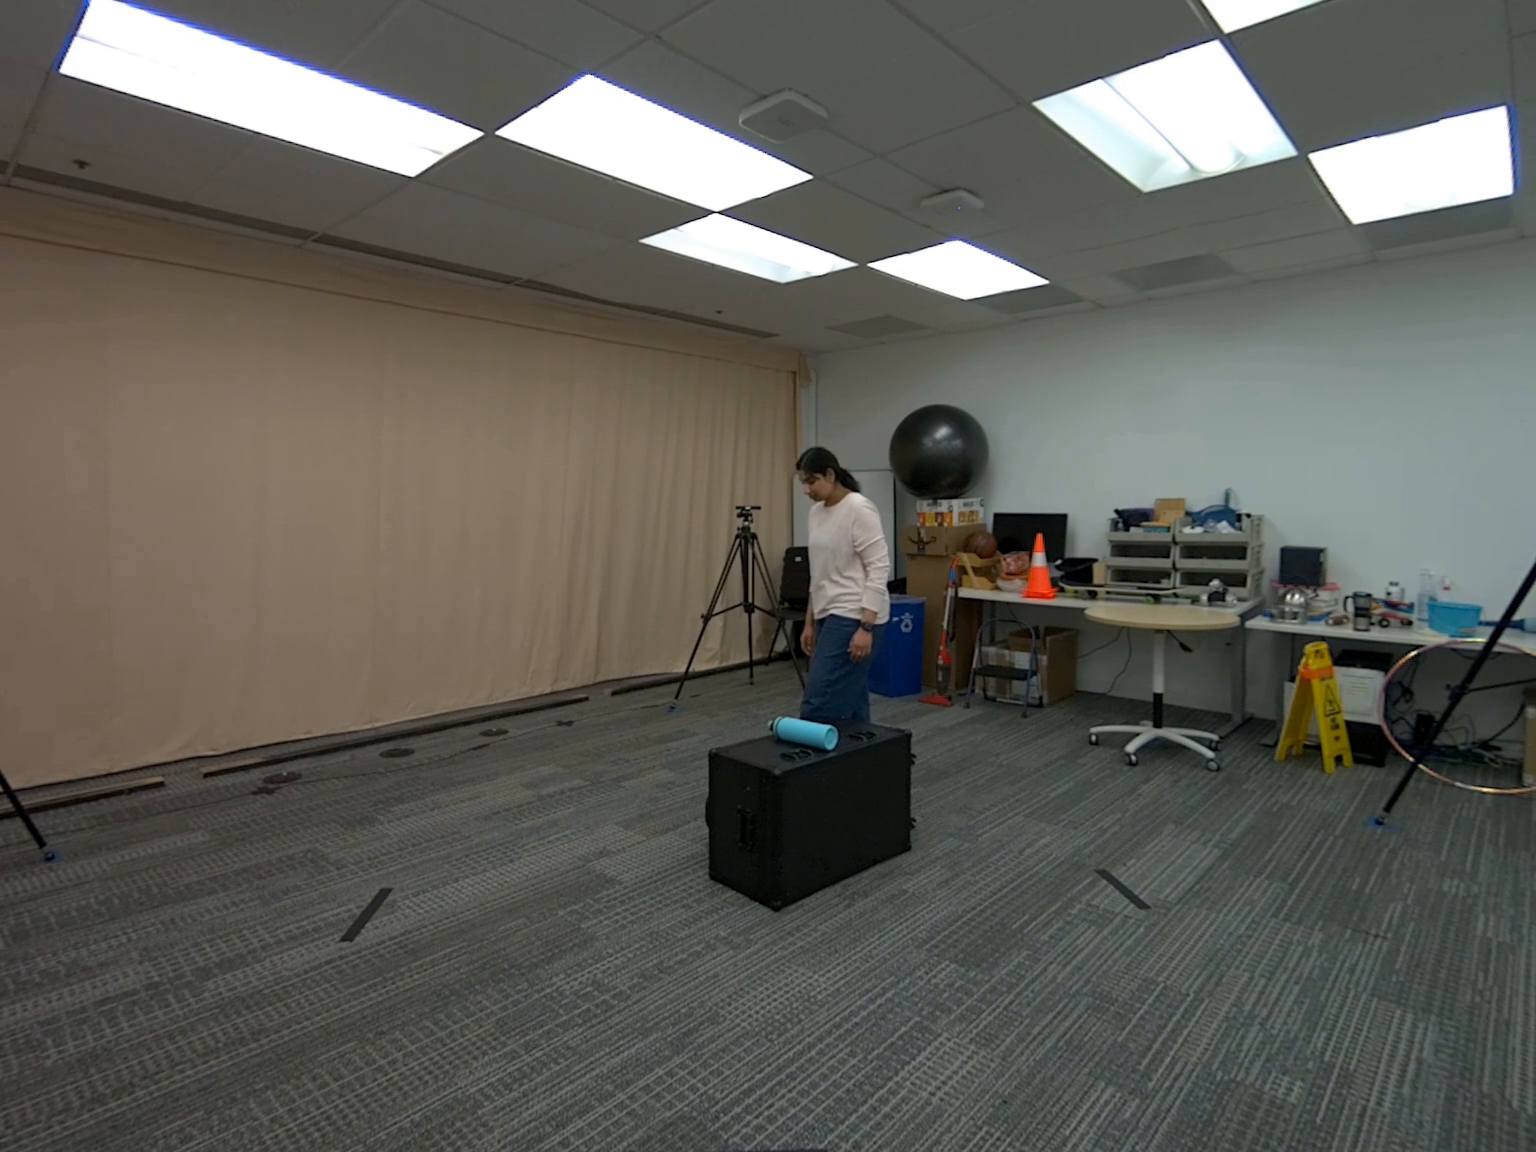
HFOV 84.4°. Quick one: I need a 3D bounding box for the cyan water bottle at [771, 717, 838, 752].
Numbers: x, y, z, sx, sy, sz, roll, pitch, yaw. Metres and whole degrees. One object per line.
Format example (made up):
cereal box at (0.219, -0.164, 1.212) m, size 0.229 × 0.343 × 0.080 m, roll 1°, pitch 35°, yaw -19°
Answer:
cyan water bottle at (0.129, 0.593, 3.218) m, size 0.293 × 0.092 × 0.089 m, roll 2°, pitch 4°, yaw 42°
